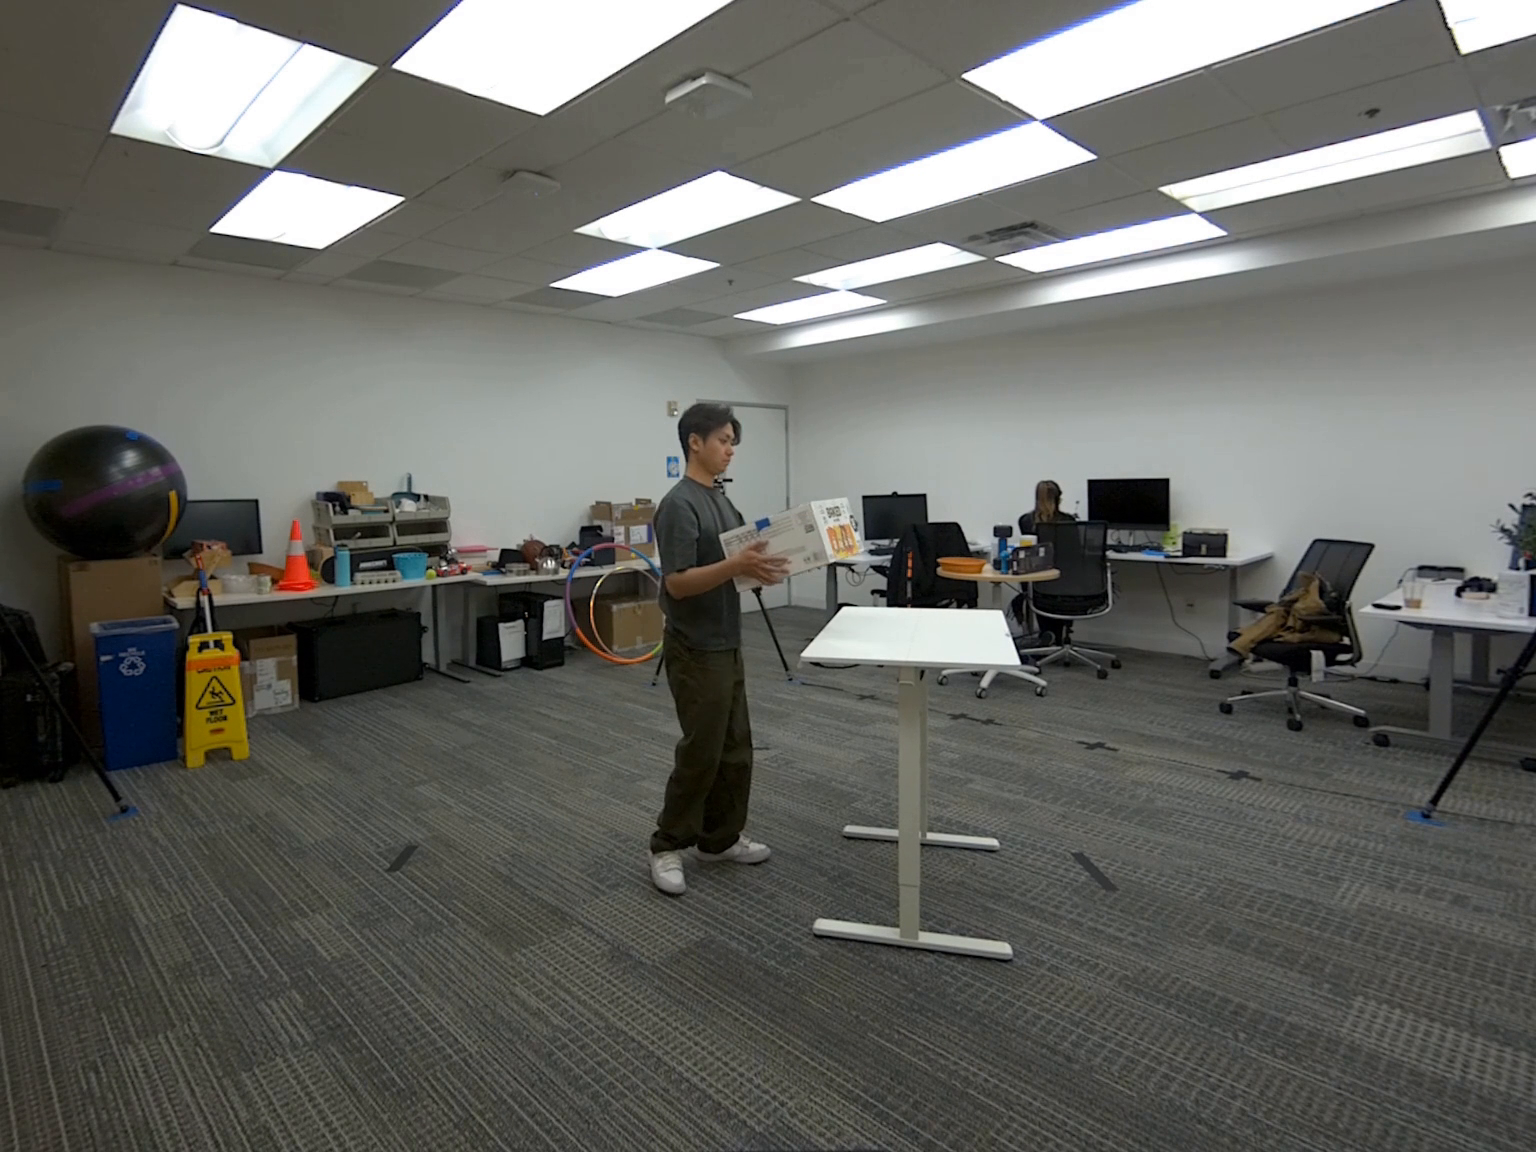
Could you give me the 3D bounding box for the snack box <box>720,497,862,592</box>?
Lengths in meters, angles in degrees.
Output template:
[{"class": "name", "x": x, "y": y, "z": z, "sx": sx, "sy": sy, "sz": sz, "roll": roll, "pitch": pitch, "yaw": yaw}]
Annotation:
[{"class": "snack box", "x": 0.086, "y": -0.108, "z": 2.908, "sx": 0.345, "sy": 0.206, "sz": 0.398, "roll": -18, "pitch": 0, "yaw": 24}]
